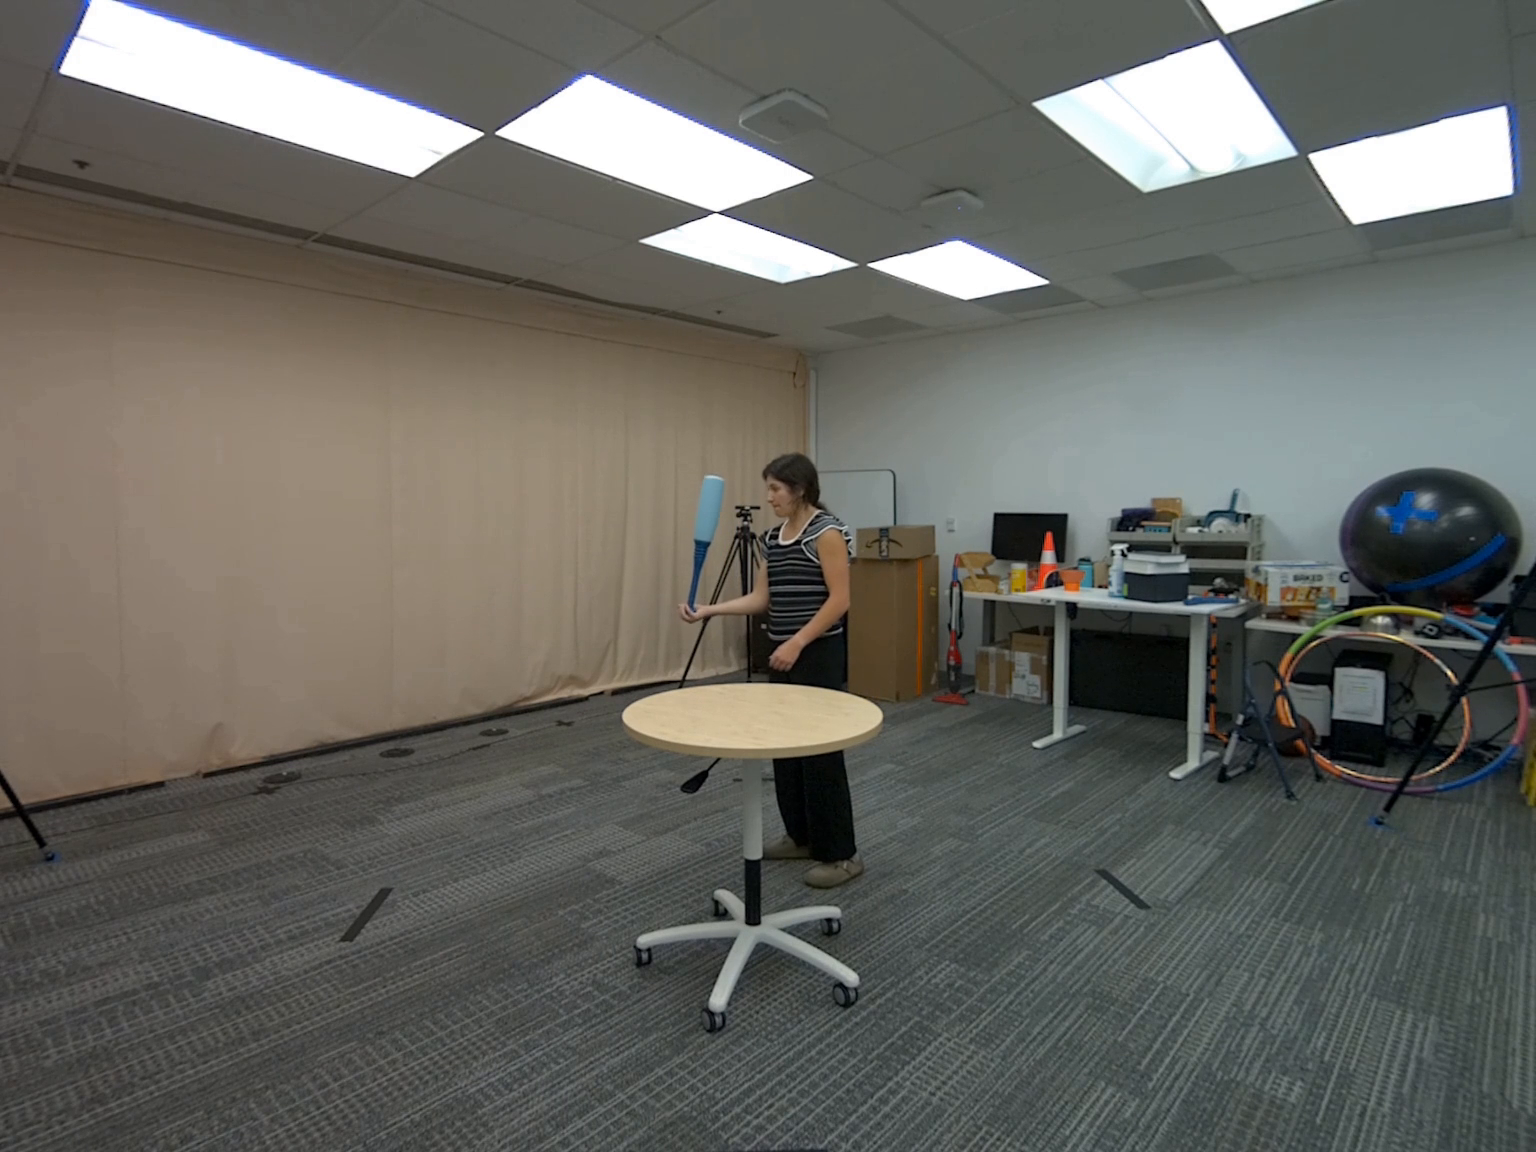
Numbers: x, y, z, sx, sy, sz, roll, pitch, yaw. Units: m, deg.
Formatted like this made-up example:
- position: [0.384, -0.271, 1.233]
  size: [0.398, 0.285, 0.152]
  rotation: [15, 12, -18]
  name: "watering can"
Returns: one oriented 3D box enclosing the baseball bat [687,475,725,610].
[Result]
- position: [-0.247, -0.113, 3.254]
  size: [0.089, 0.543, 0.089]
  rotation: [11, 1, -2]
  name: "baseball bat"
